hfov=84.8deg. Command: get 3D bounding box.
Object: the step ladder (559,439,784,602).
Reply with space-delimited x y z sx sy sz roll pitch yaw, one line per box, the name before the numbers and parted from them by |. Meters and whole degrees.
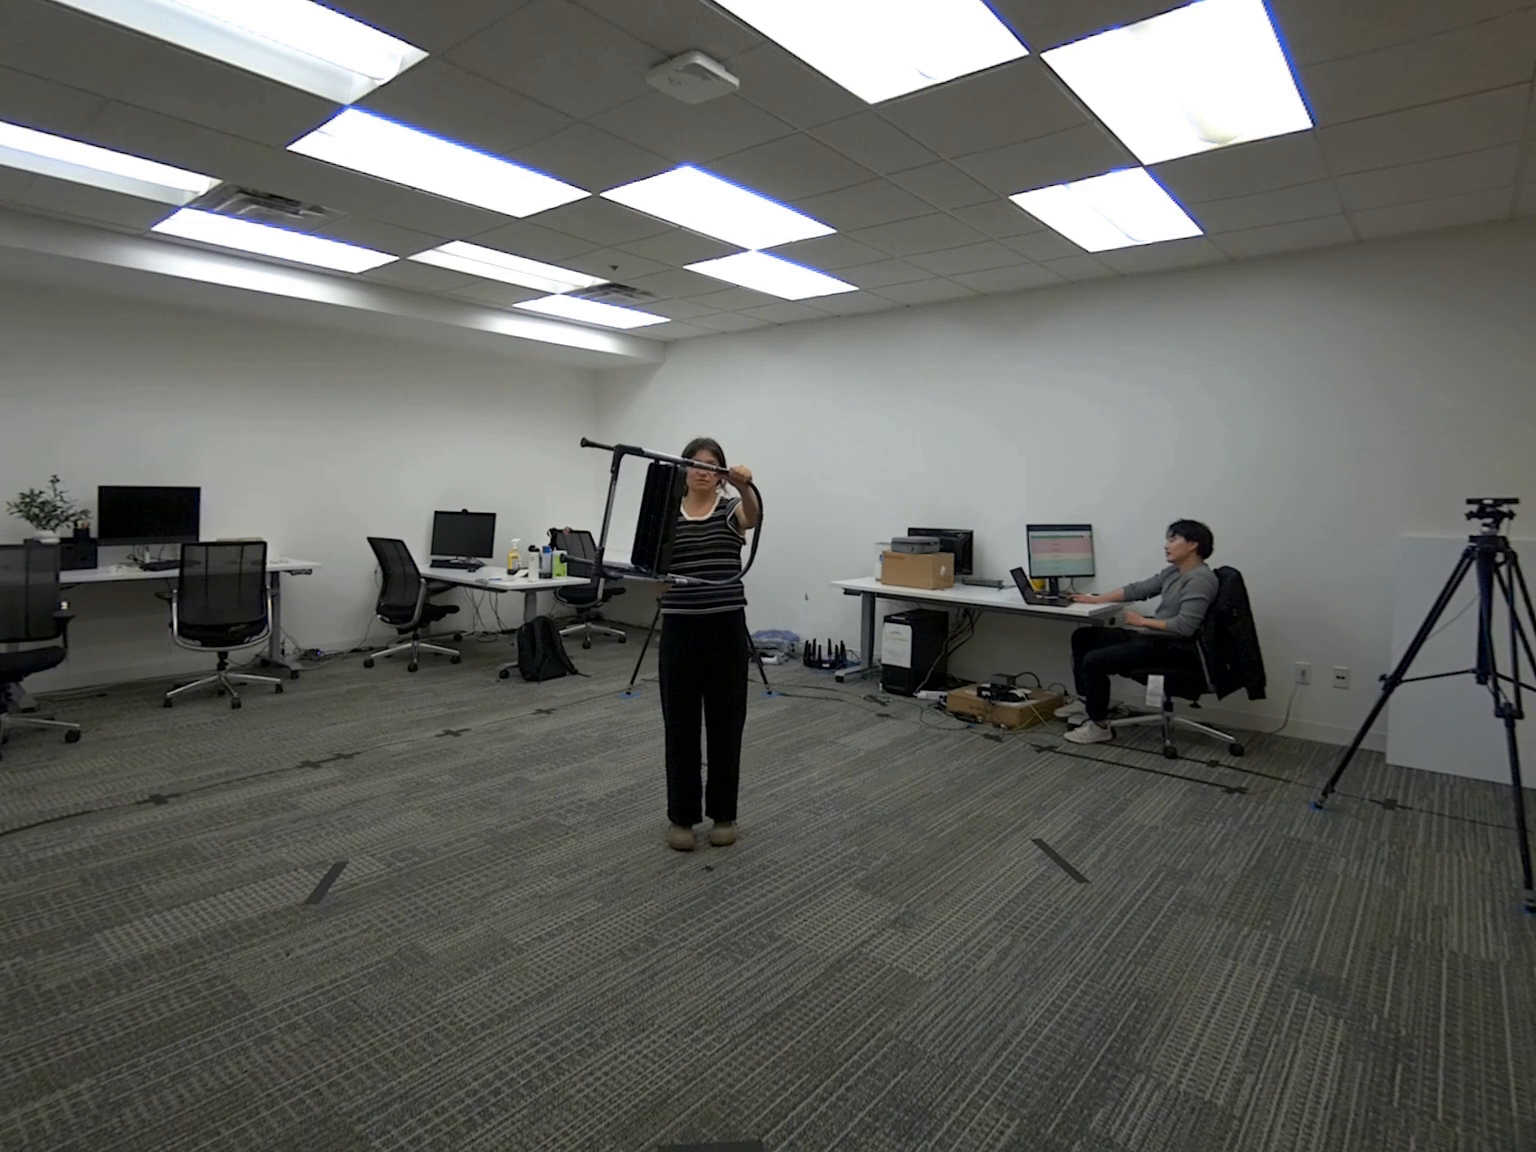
step ladder | -0.333 -0.190 2.857 0.588 0.429 0.361 8 4 -29
